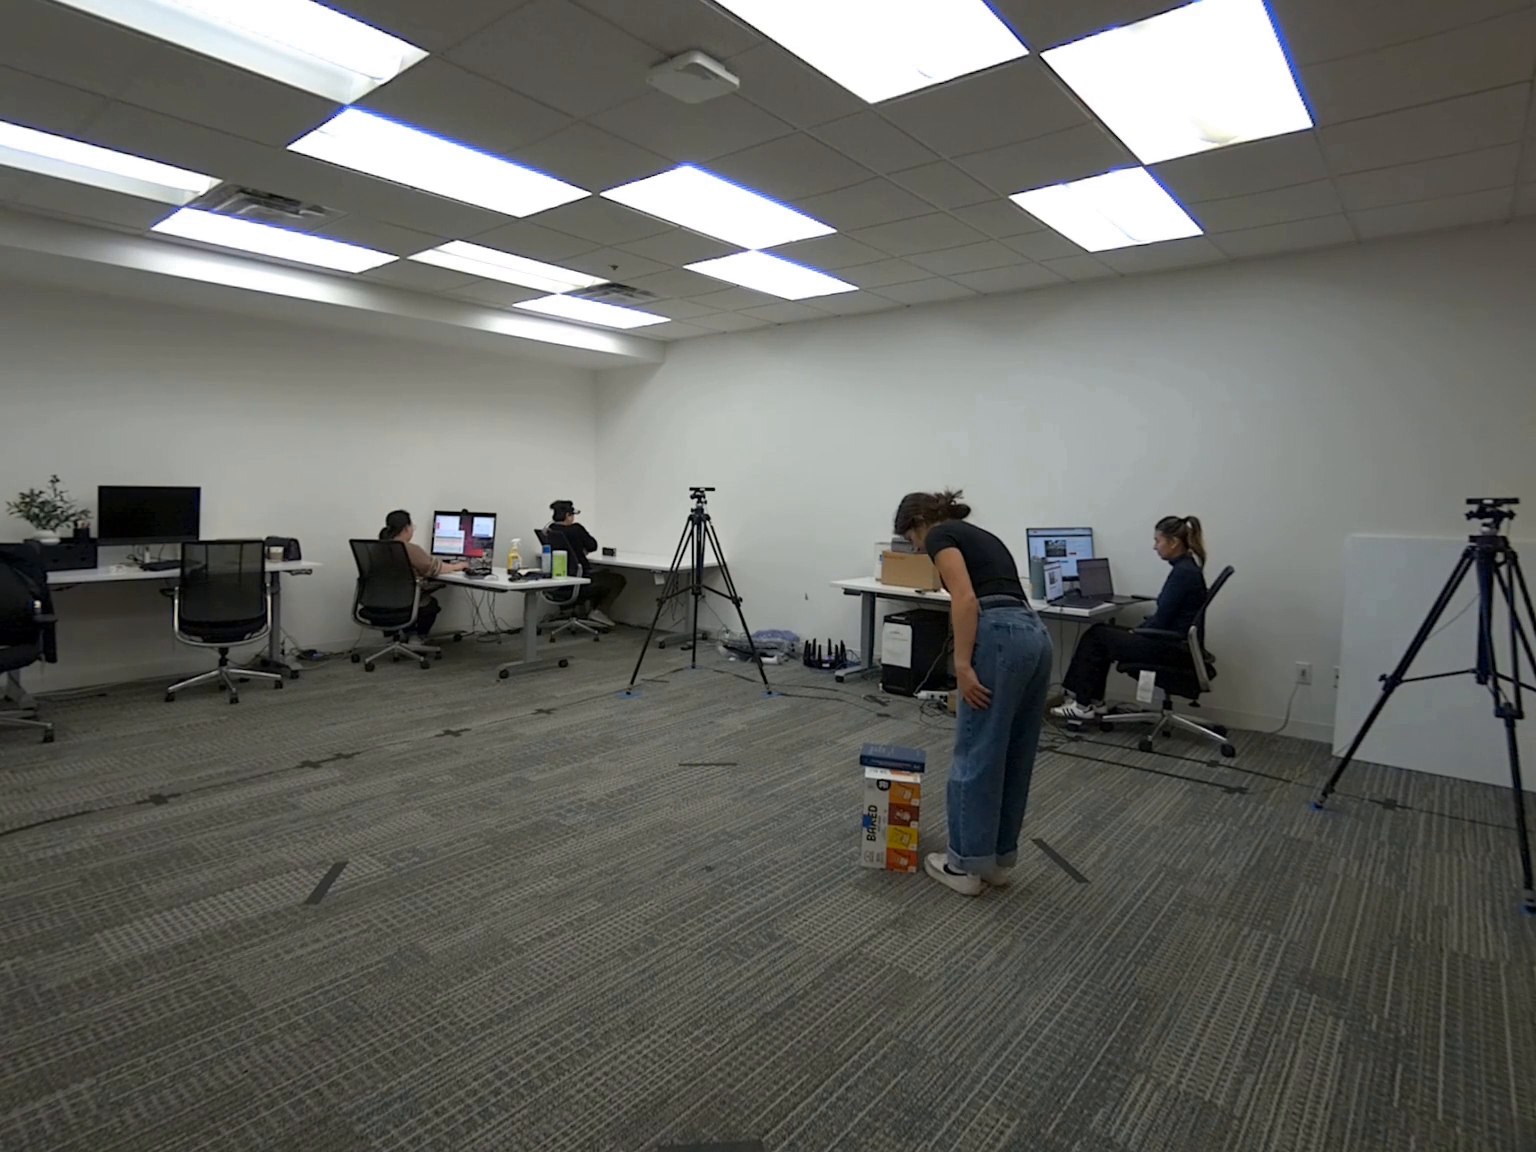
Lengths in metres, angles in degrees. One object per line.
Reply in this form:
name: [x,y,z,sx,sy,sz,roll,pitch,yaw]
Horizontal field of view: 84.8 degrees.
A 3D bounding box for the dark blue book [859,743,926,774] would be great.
dark blue book: [0.477,0.701,3.307,0.249,0.045,0.162,4,6,12]
